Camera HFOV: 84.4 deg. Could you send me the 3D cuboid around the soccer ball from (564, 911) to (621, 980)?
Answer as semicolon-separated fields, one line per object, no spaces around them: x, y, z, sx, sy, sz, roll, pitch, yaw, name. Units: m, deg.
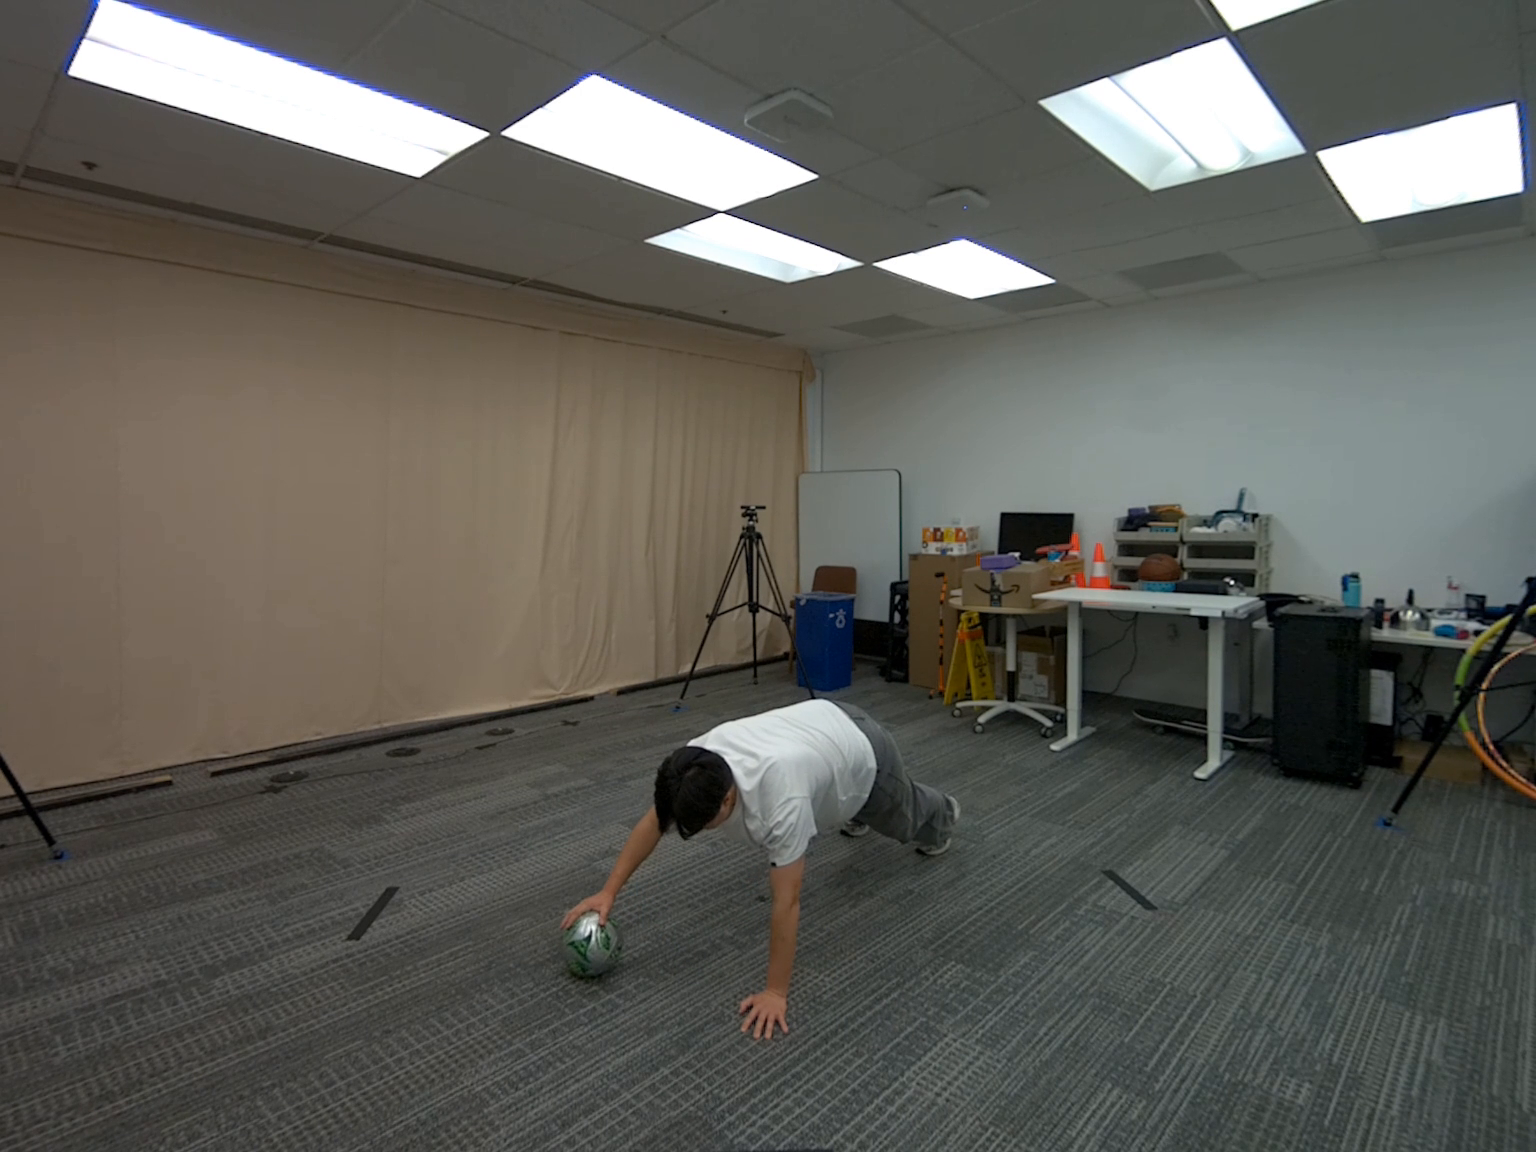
-0.516;1.104;2.512;0.187;0.187;0.188;0;4;-2;soccer ball
